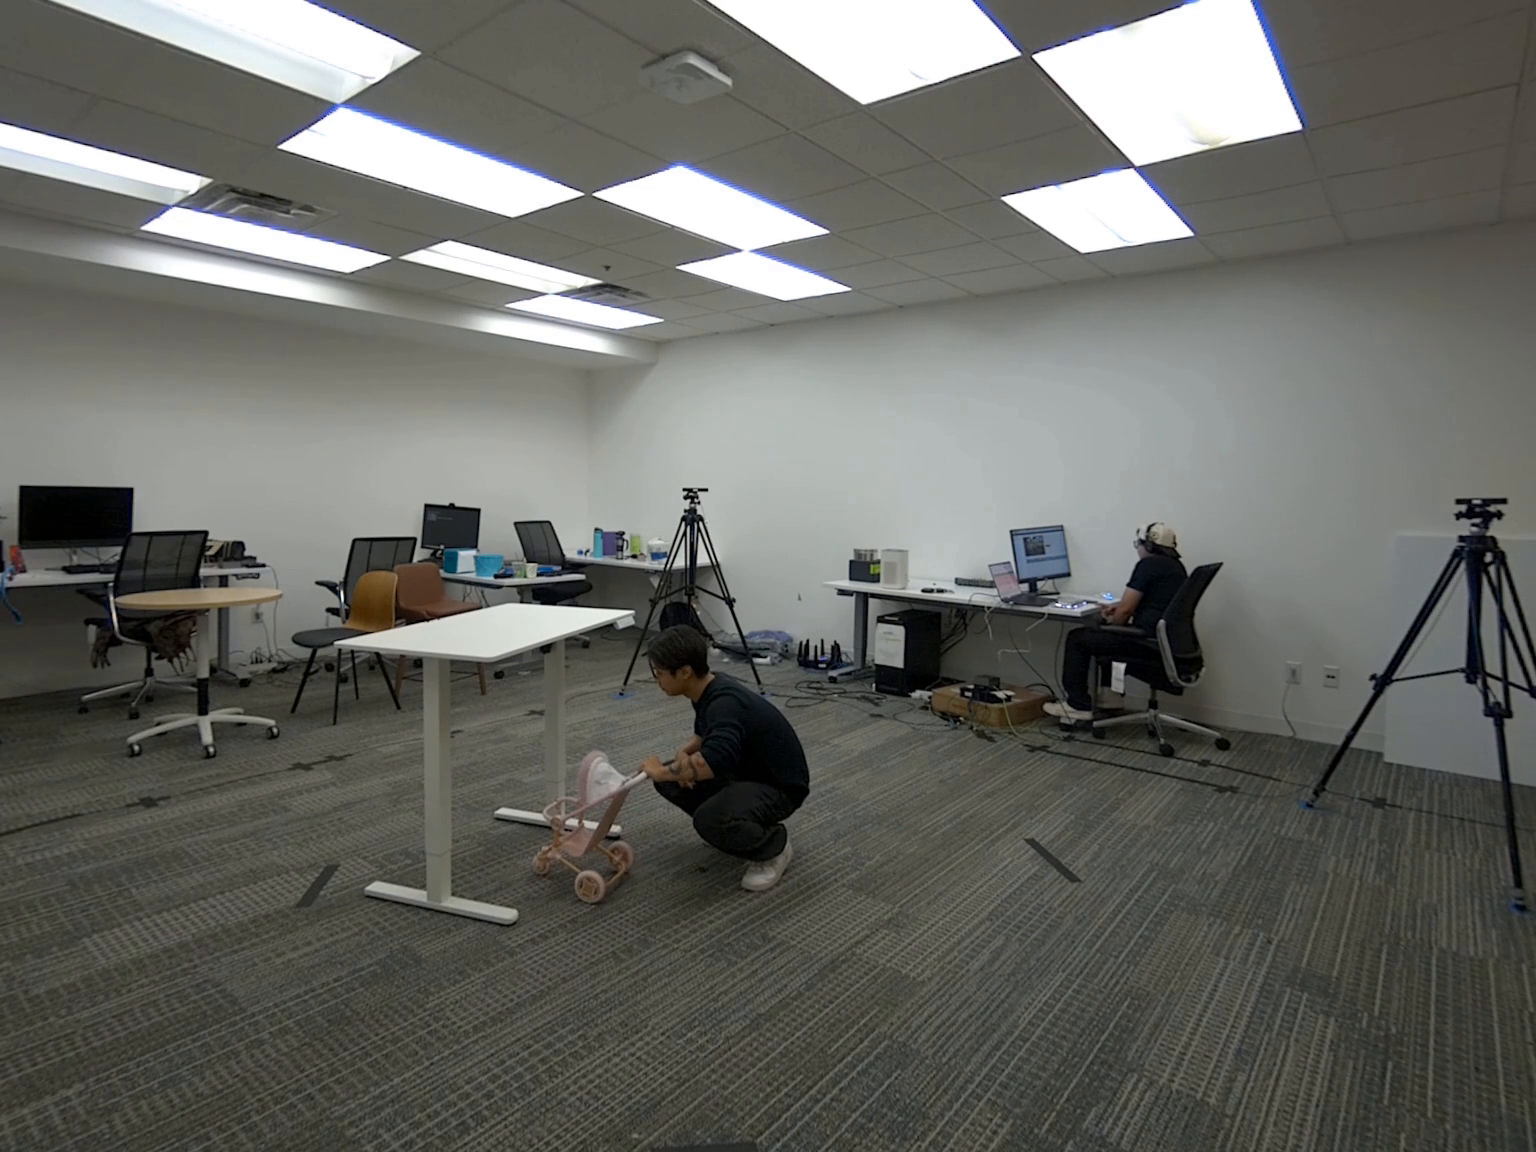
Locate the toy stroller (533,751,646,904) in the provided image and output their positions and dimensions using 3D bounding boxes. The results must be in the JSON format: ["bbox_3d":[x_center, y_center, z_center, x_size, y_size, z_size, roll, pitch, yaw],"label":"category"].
[{"bbox_3d":[-0.633,0.851,2.976,0.350,0.532,0.276,19,9,19],"label":"toy stroller"}]
